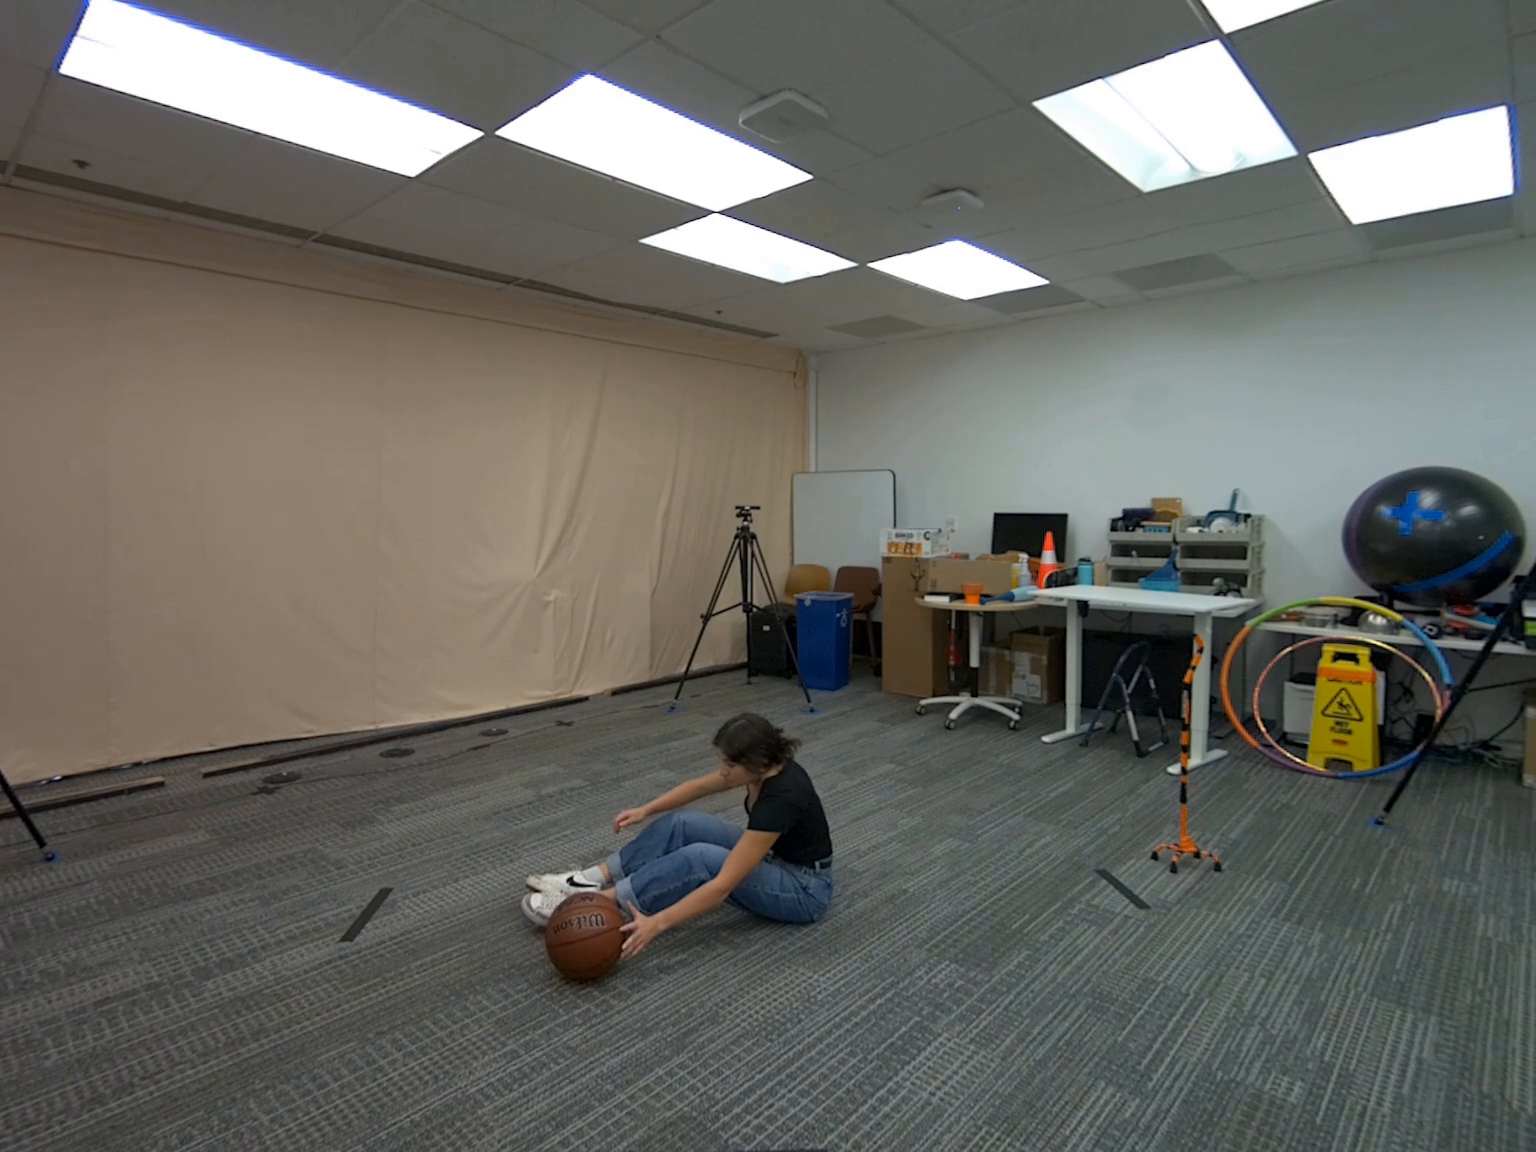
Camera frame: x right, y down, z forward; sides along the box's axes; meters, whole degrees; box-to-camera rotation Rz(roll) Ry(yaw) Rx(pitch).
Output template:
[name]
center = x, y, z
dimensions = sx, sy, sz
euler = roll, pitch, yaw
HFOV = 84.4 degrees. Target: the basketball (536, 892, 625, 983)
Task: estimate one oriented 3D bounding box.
[basketball]
center = -0.547, 1.070, 2.494
dimensions = 0.236, 0.235, 0.237
euler = 0, 4, -2
